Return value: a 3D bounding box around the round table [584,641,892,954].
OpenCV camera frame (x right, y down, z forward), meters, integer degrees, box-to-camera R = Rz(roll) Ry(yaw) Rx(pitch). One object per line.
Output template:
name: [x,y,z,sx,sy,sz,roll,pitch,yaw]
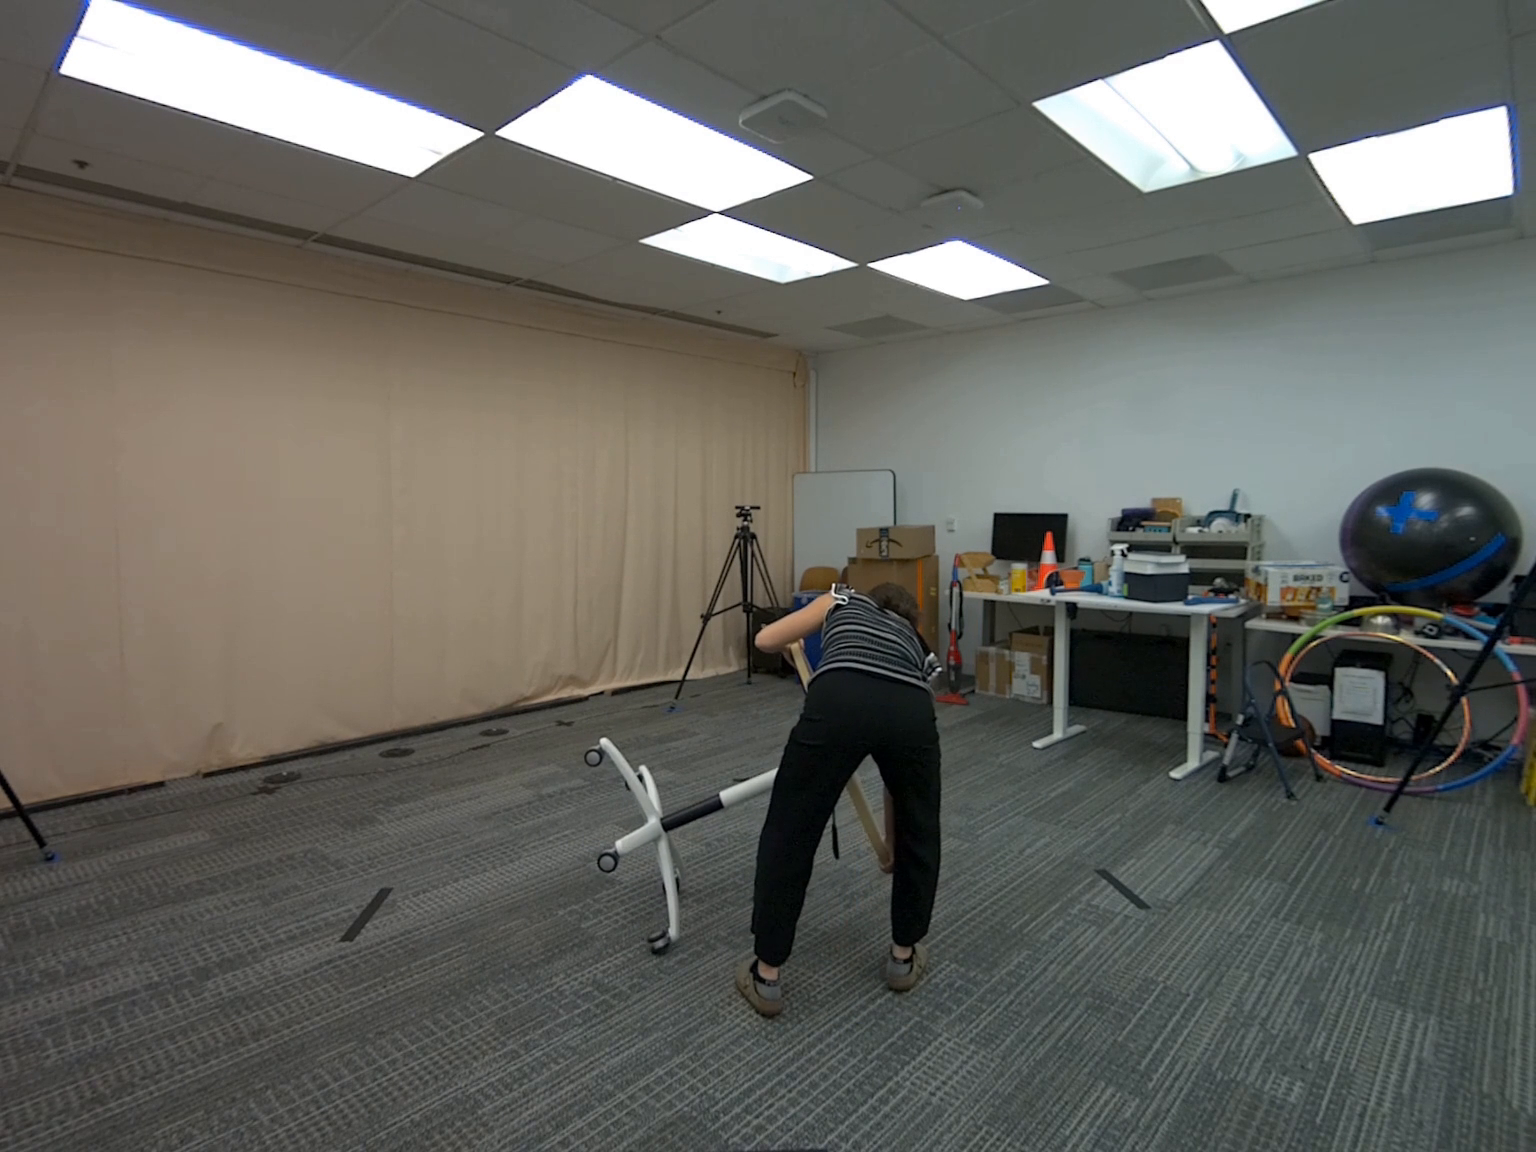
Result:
round table: [-0.119,0.732,2.793,0.788,0.783,0.785,-24,3,2]
